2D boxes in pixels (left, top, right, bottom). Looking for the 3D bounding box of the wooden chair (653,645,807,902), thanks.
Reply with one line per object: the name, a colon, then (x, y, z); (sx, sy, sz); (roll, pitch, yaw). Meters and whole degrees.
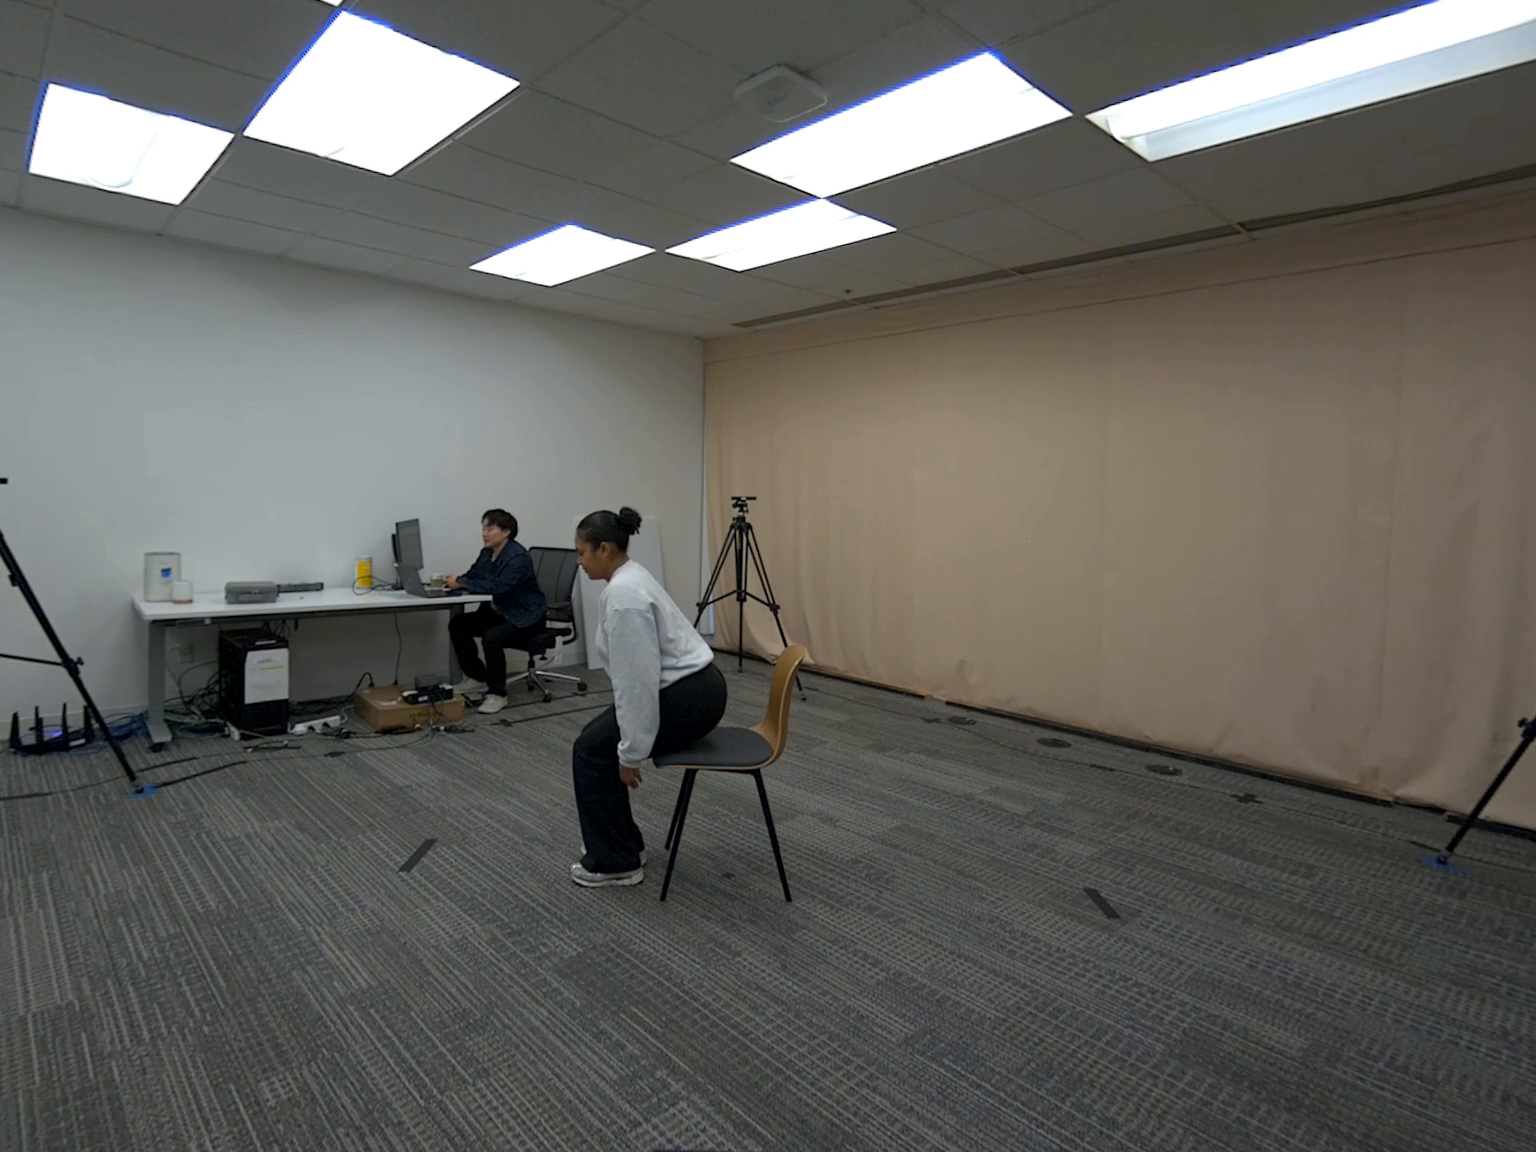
wooden chair: (-0.164, 0.675, 3.090); (0.521, 0.875, 0.481); (5, 3, -4)
